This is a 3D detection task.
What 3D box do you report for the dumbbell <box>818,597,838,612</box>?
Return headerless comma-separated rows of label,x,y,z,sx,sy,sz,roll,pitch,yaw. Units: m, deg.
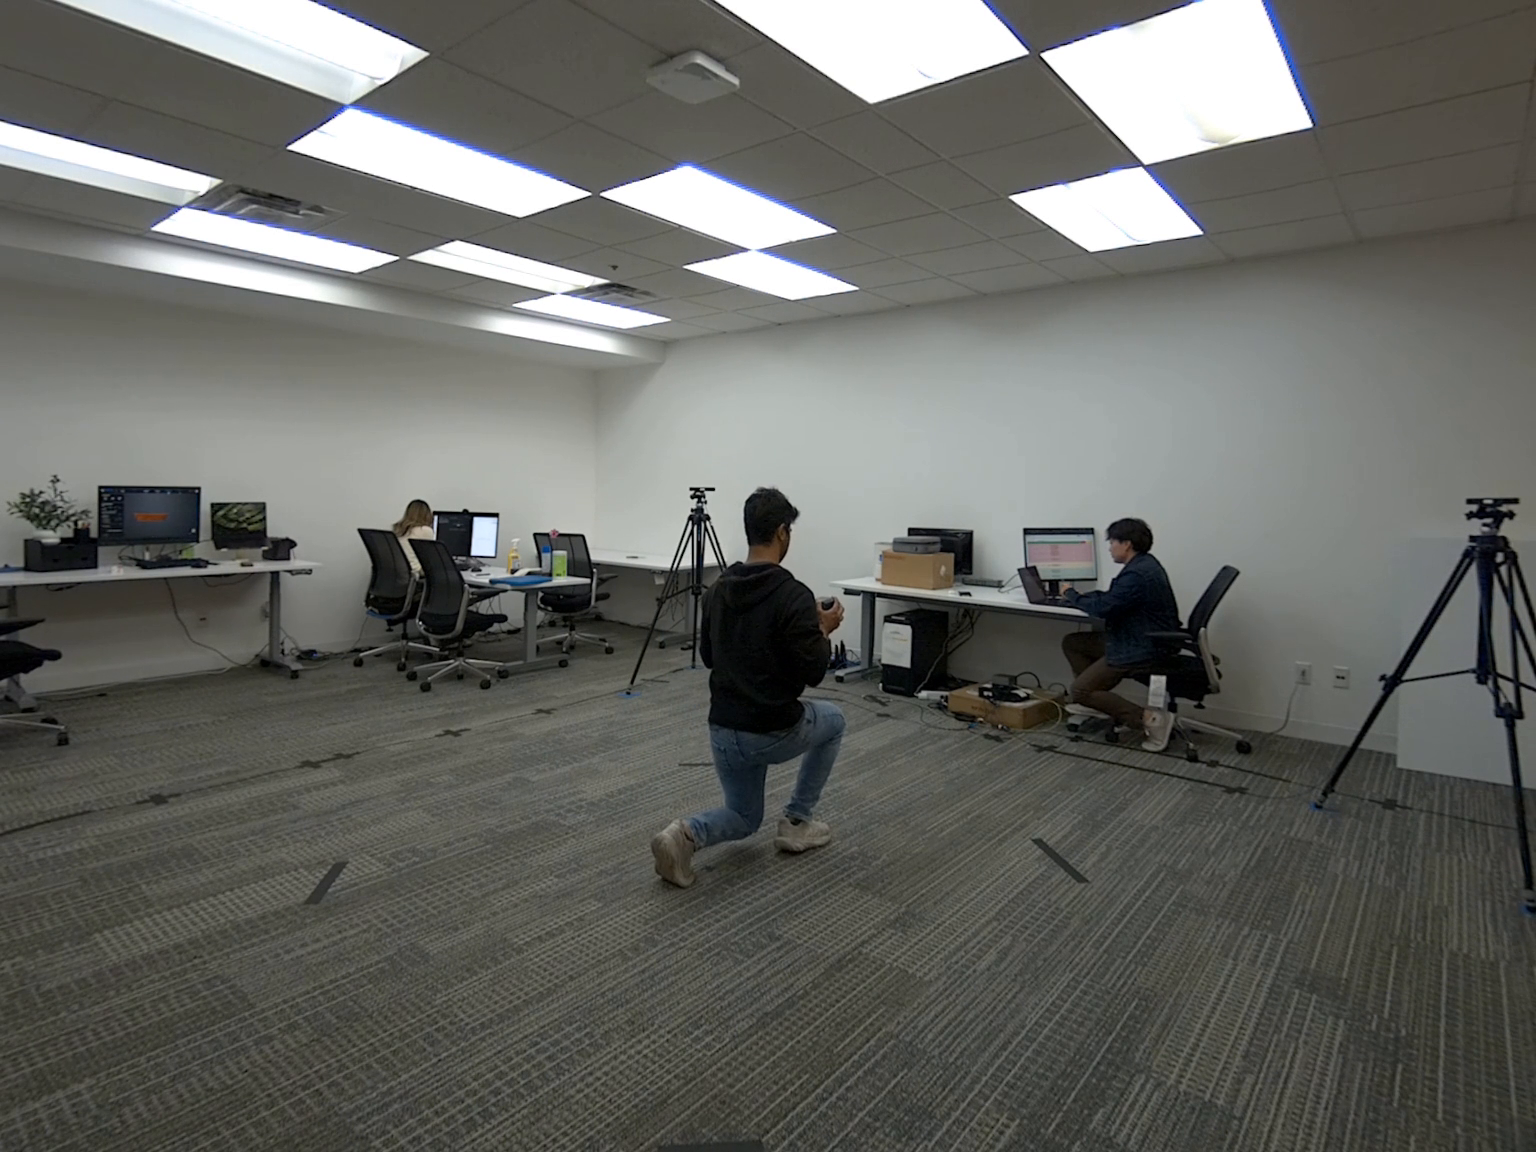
dumbbell,0.125,0.124,3.353,0.104,0.124,0.303,26,-12,-38
